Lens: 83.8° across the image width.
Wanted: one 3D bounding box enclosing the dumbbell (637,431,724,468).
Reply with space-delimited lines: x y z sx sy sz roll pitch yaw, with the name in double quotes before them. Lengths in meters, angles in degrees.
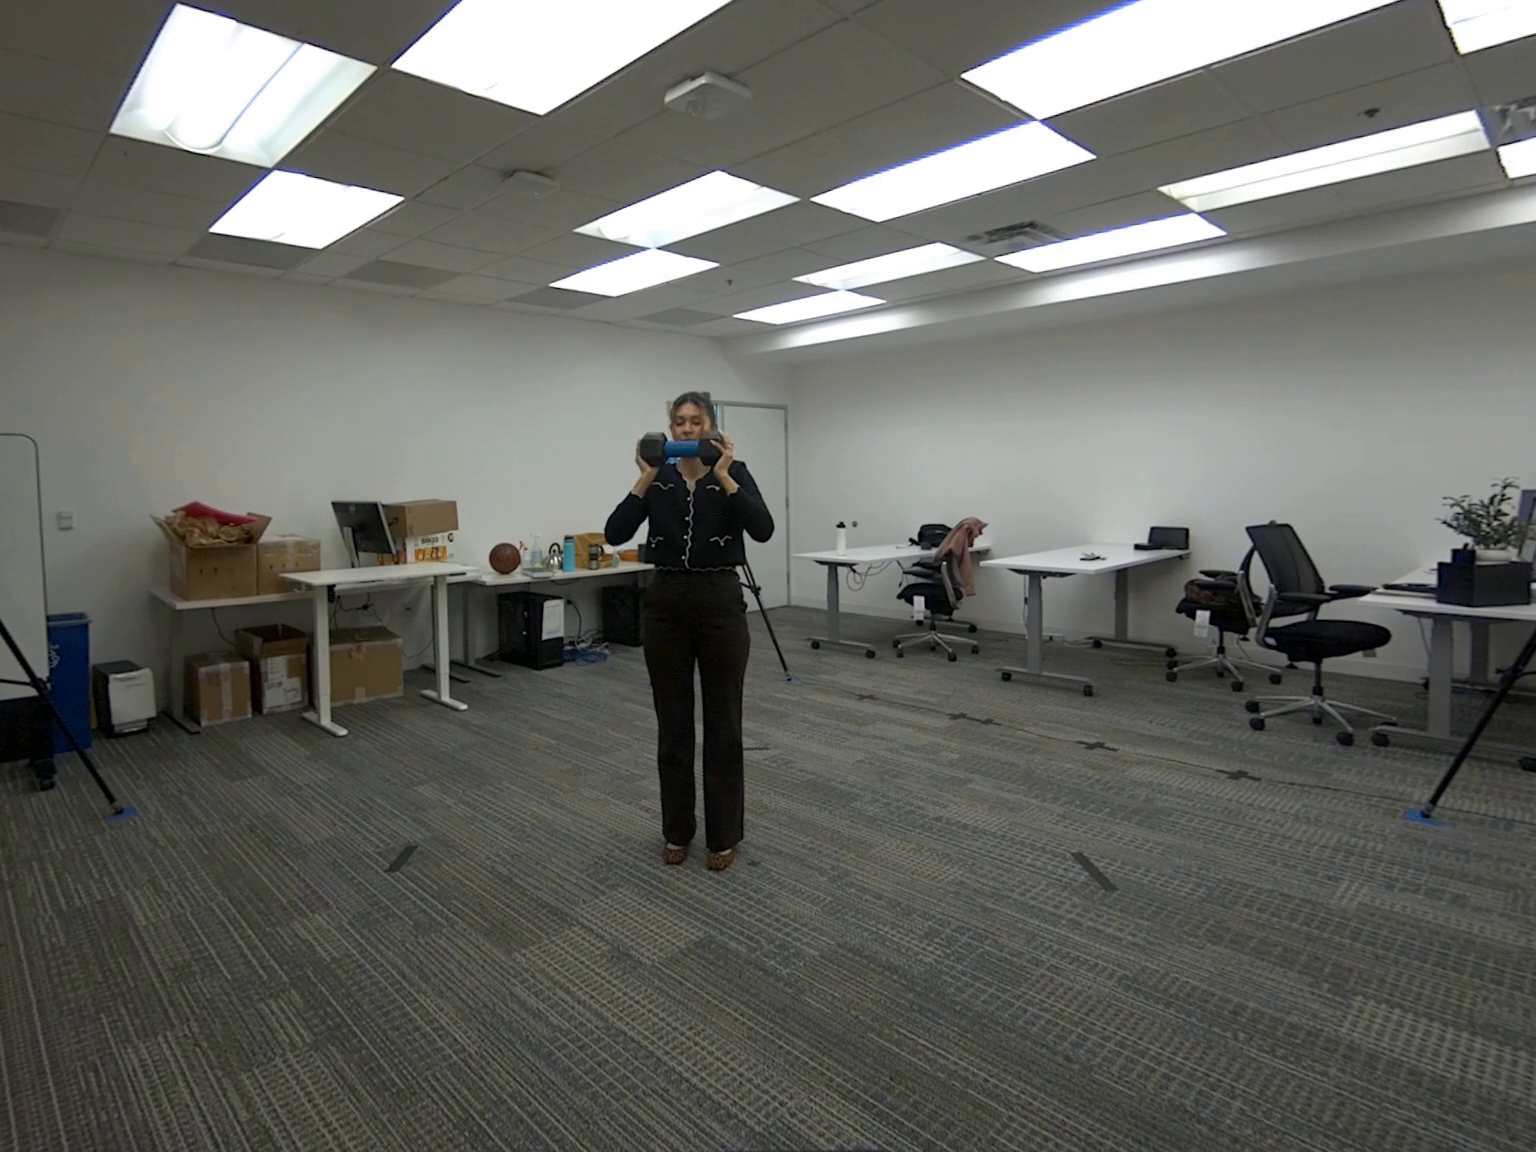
"dumbbell" -0.322 -0.439 2.995 0.297 0.106 0.125 -1 33 13
